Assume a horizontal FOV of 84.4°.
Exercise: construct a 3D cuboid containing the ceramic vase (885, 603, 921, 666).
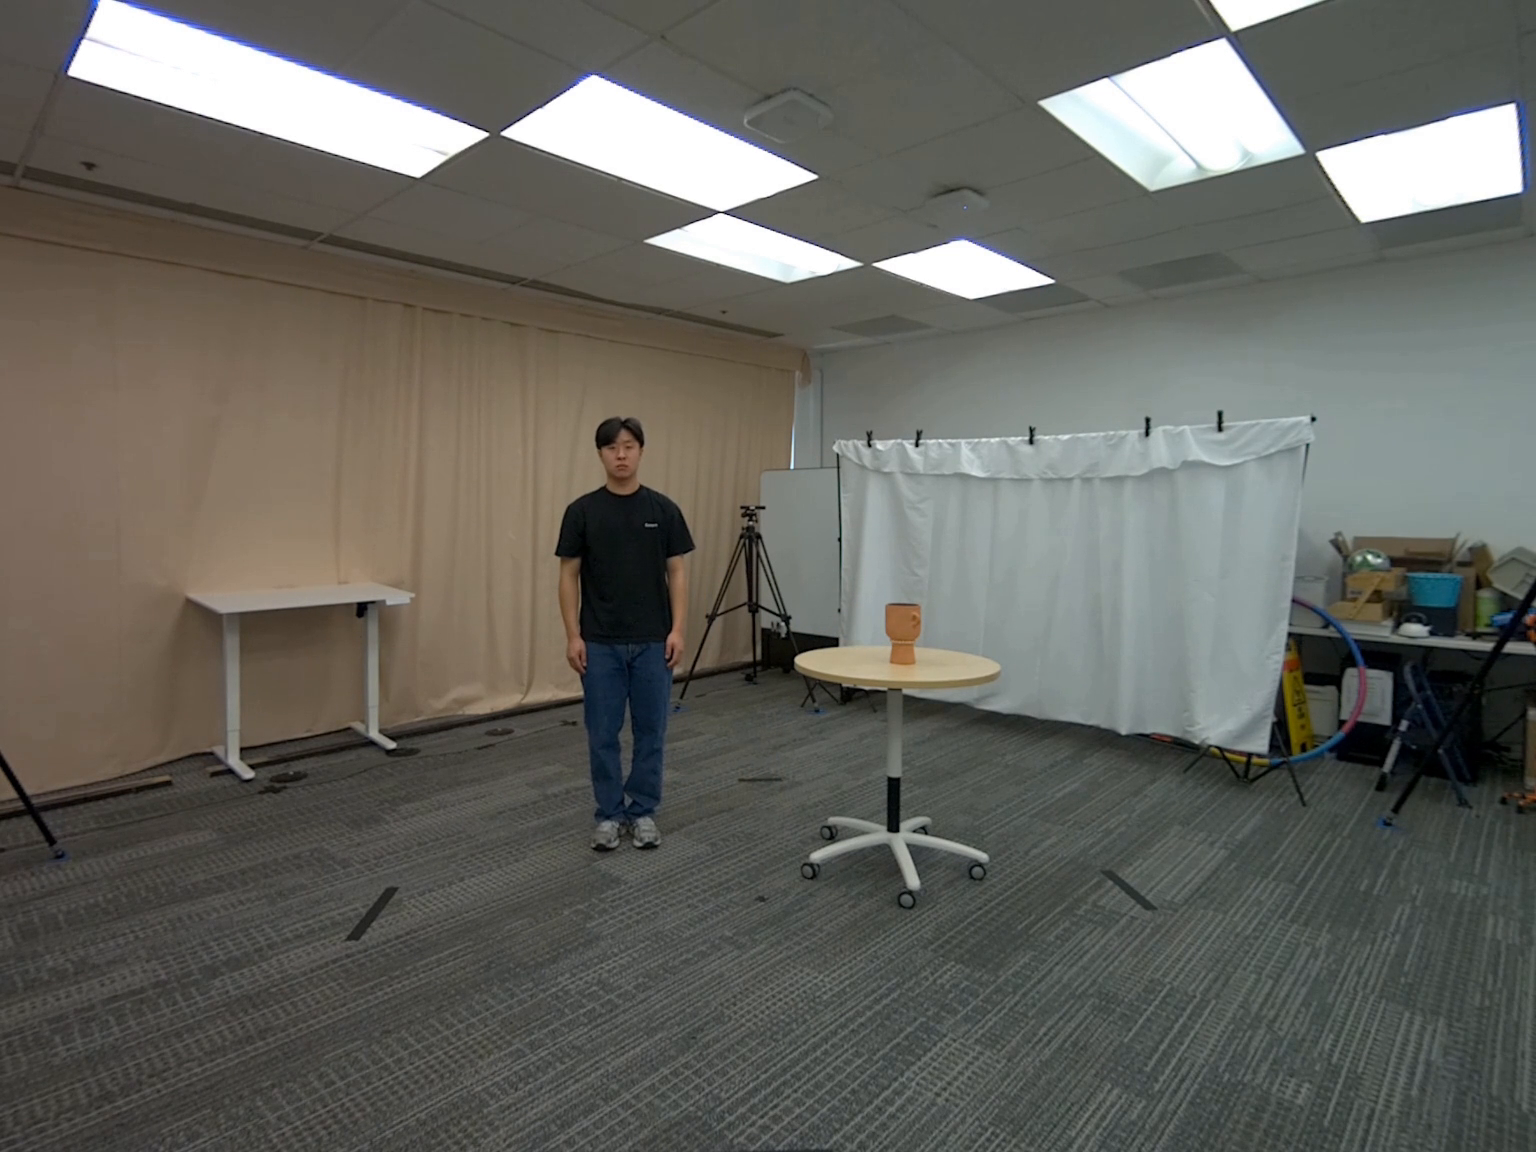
[{"bbox_3d":[0.523,0.221,3.195,0.136,0.219,0.157,1,2,9],"label":"ceramic vase"}]
